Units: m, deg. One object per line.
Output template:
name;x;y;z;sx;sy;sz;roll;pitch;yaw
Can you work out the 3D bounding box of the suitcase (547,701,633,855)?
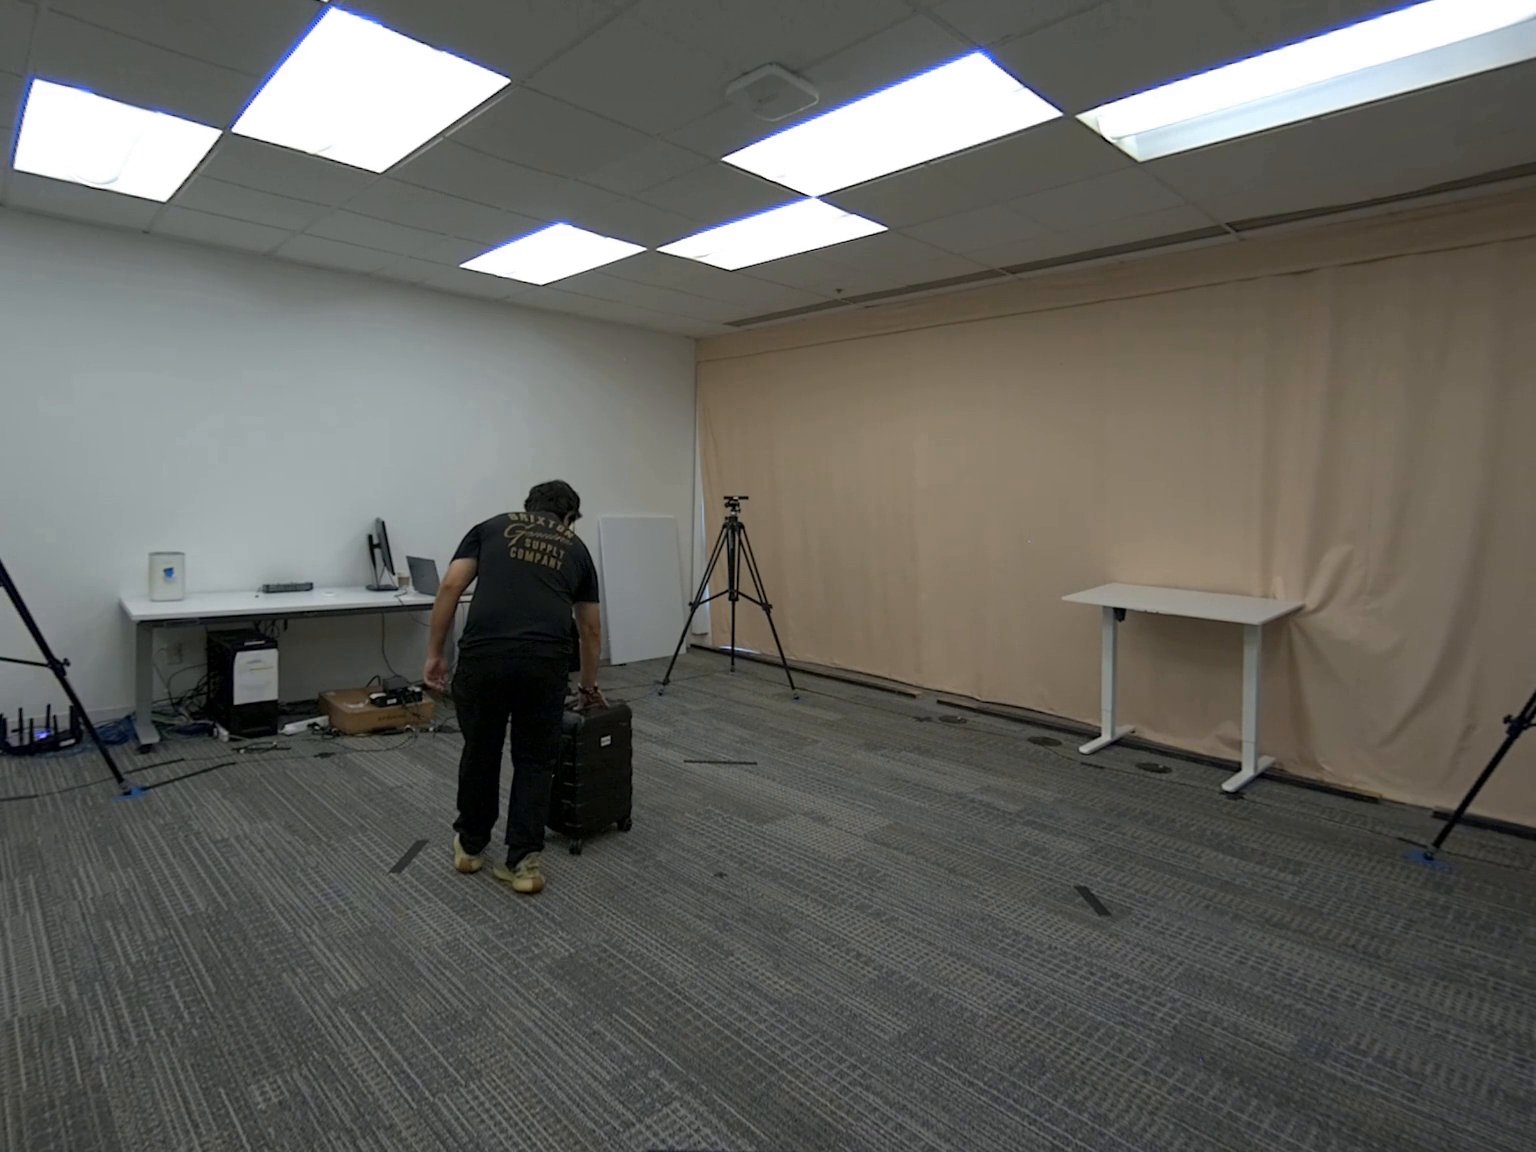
suitcase;-0.754;0.784;3.451;0.254;0.548;0.367;4;3;34
